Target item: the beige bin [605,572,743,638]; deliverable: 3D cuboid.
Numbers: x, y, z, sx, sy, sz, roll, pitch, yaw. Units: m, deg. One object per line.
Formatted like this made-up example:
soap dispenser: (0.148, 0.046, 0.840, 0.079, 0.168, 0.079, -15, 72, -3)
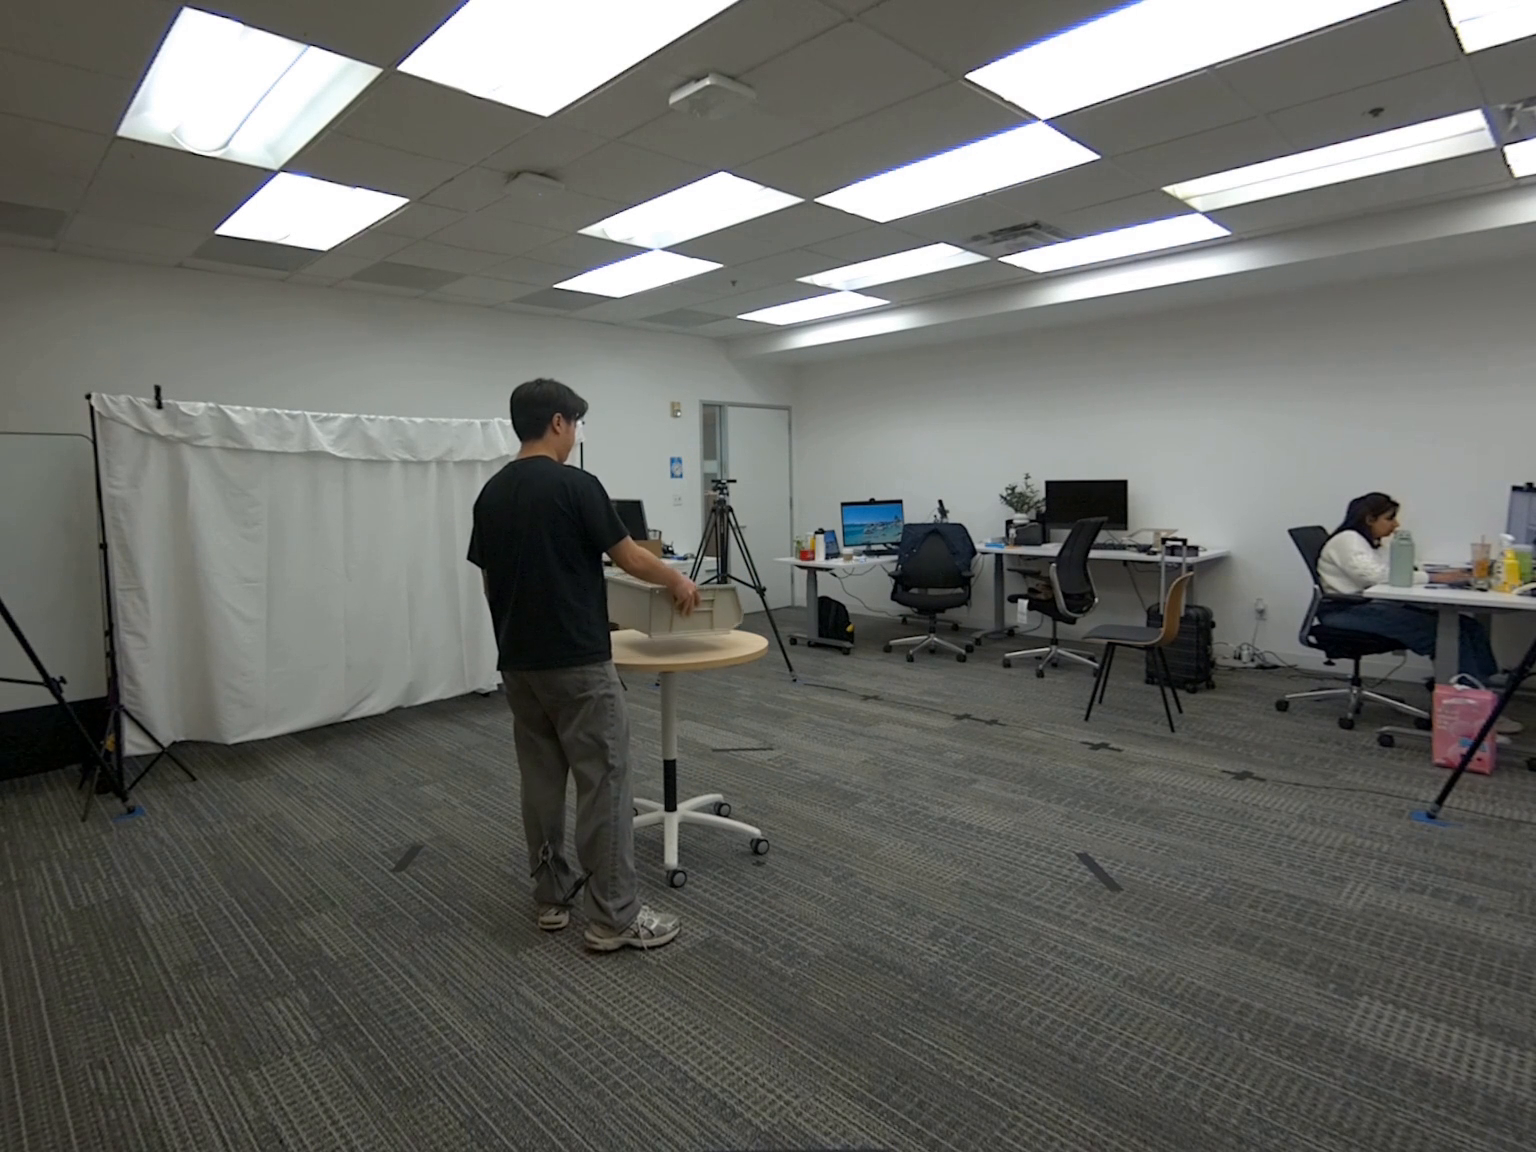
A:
beige bin: (-0.353, 0.102, 3.172, 0.368, 0.188, 0.435, -3, 7, -32)
